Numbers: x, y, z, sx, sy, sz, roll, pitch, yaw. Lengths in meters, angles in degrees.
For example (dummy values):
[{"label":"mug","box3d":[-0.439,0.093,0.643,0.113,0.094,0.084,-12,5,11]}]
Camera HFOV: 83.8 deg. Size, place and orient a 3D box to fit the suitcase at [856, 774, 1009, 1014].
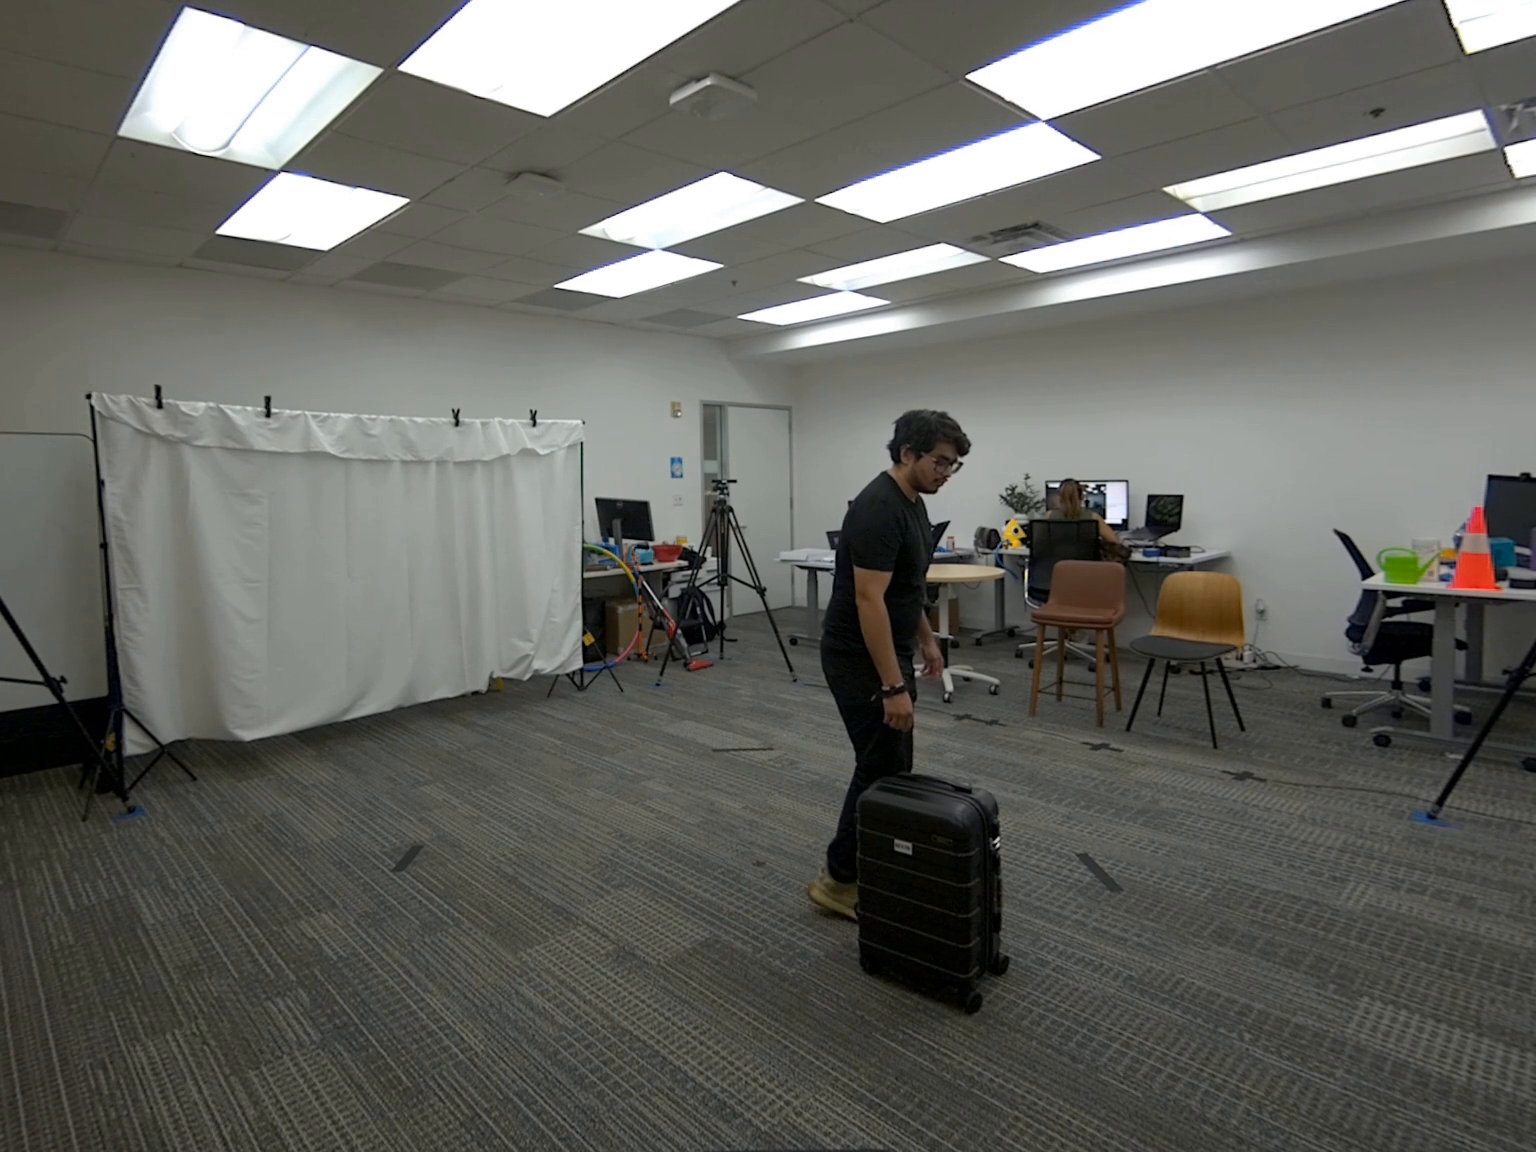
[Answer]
[{"label":"suitcase","box3d":[0.454,0.851,2.384,0.386,0.547,0.242,0,6,36]}]
